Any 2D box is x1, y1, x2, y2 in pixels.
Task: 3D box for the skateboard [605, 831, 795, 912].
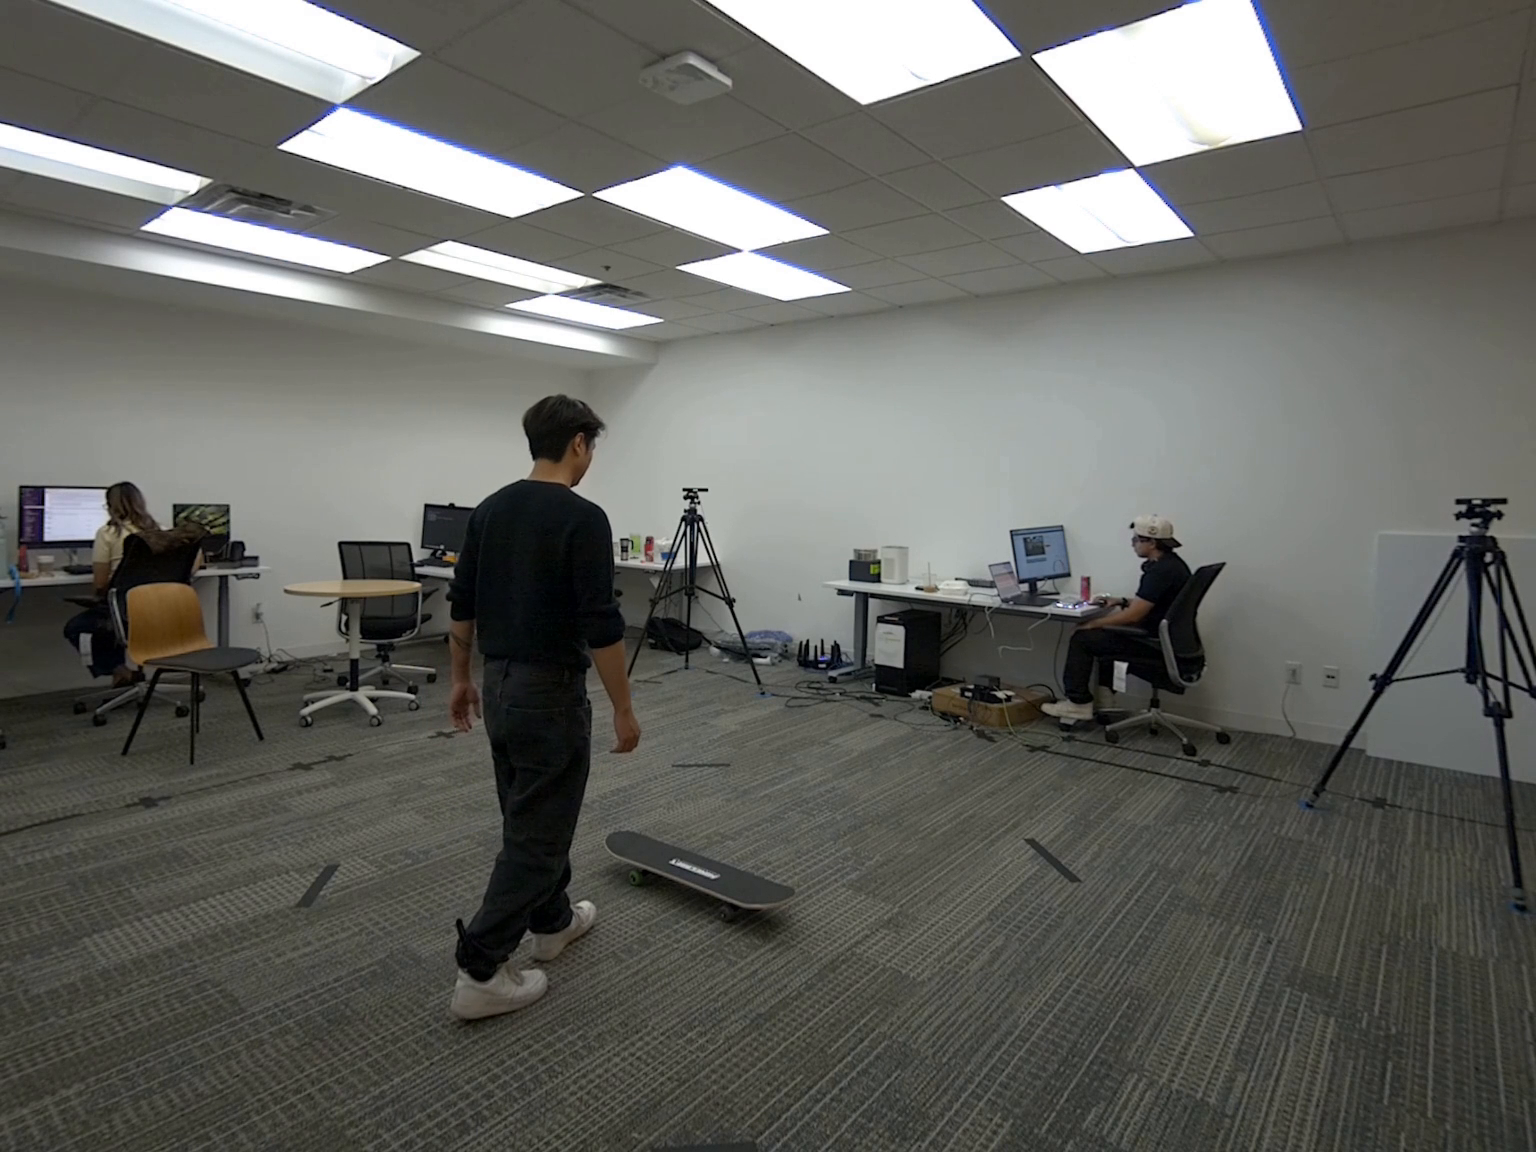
[{"bbox_3d":[-0.265,1.027,2.911,0.811,0.110,0.188,5,6,36],"label":"skateboard"}]
